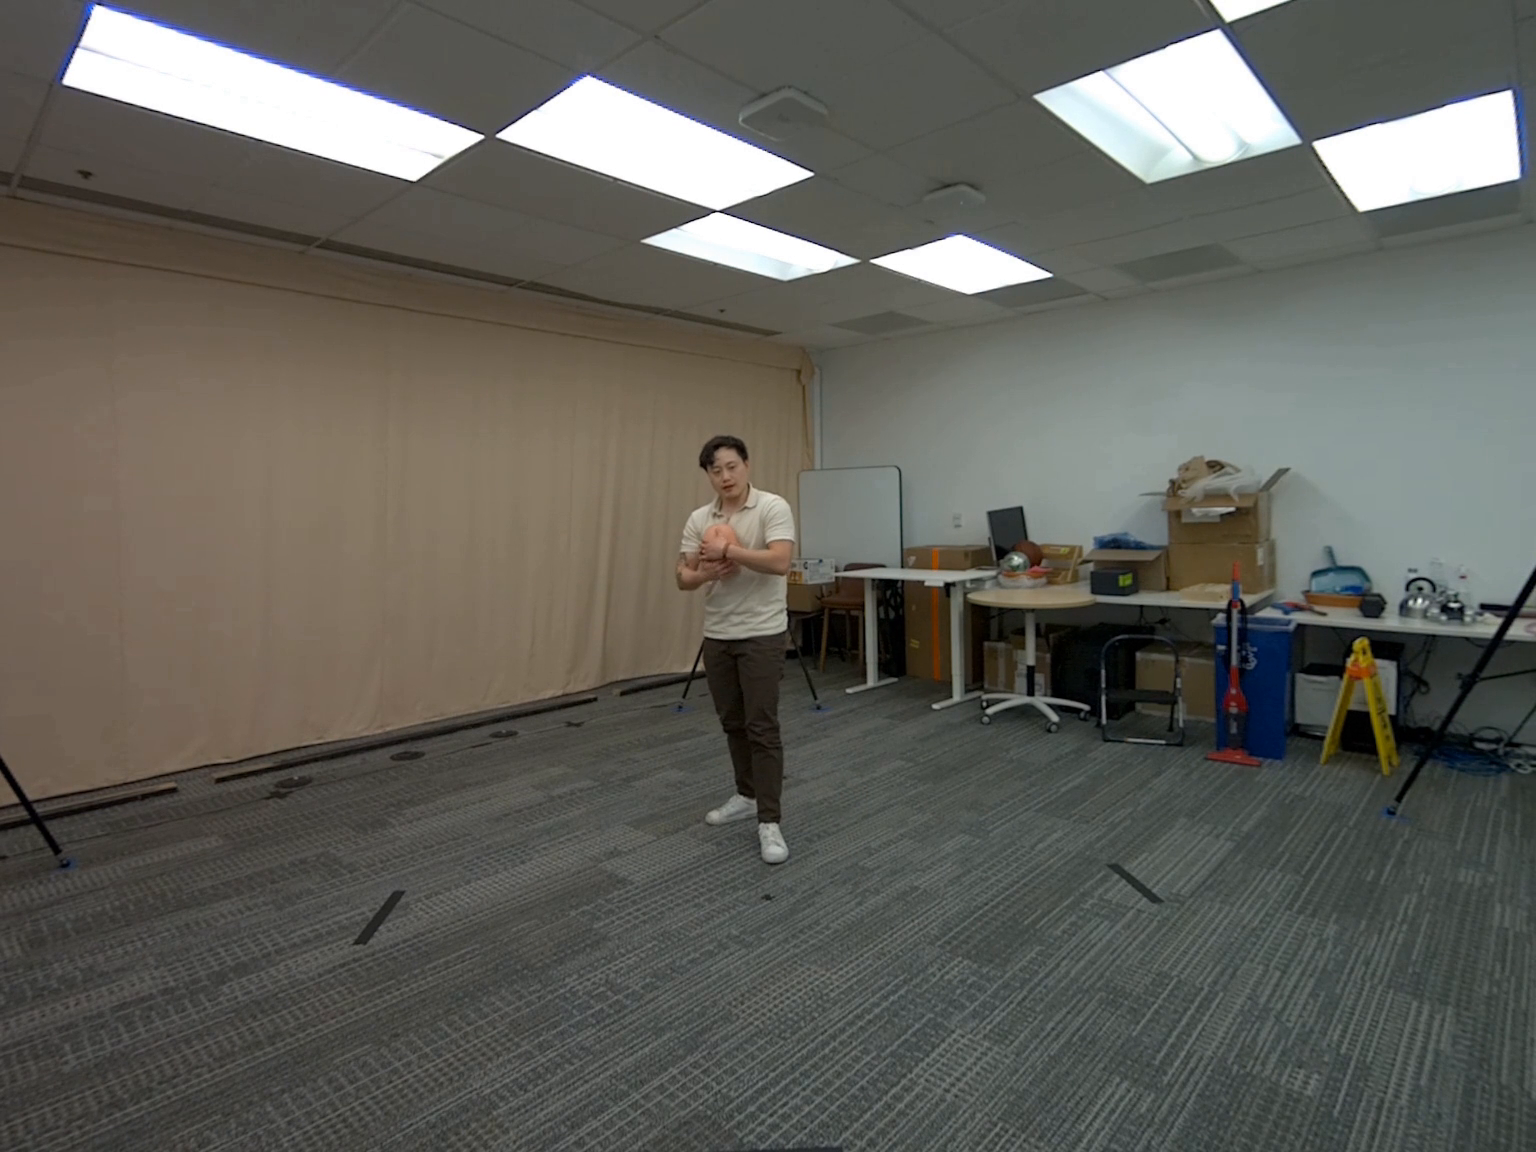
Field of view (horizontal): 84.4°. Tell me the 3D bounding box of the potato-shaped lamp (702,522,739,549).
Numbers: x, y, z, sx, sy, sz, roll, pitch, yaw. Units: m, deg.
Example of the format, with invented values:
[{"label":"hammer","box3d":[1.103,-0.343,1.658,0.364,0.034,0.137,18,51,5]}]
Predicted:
[{"label":"potato-shaped lamp","box3d":[-0.184,-0.114,3.440,0.169,0.198,0.167,-9,0,30]}]
